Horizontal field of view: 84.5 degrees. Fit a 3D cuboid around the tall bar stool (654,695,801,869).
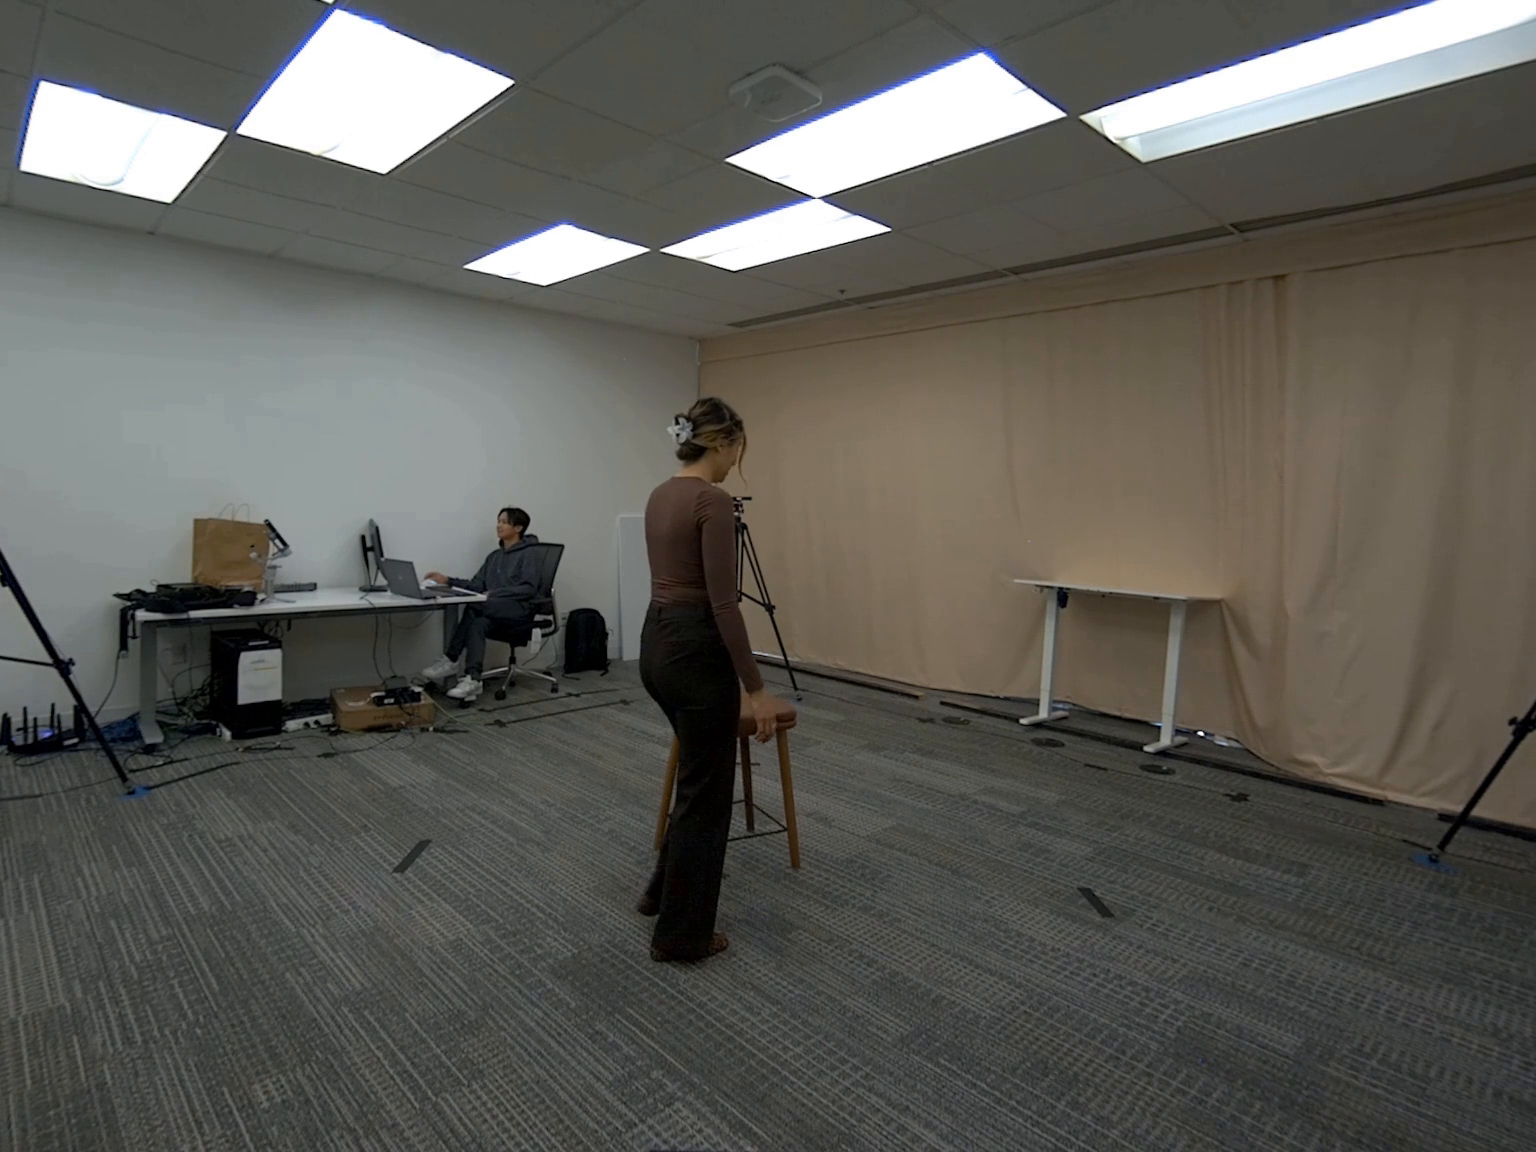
[{"bbox_3d":[-0.167,0.662,3.237,0.459,0.887,0.466,-2,5,-27],"label":"tall bar stool"}]
